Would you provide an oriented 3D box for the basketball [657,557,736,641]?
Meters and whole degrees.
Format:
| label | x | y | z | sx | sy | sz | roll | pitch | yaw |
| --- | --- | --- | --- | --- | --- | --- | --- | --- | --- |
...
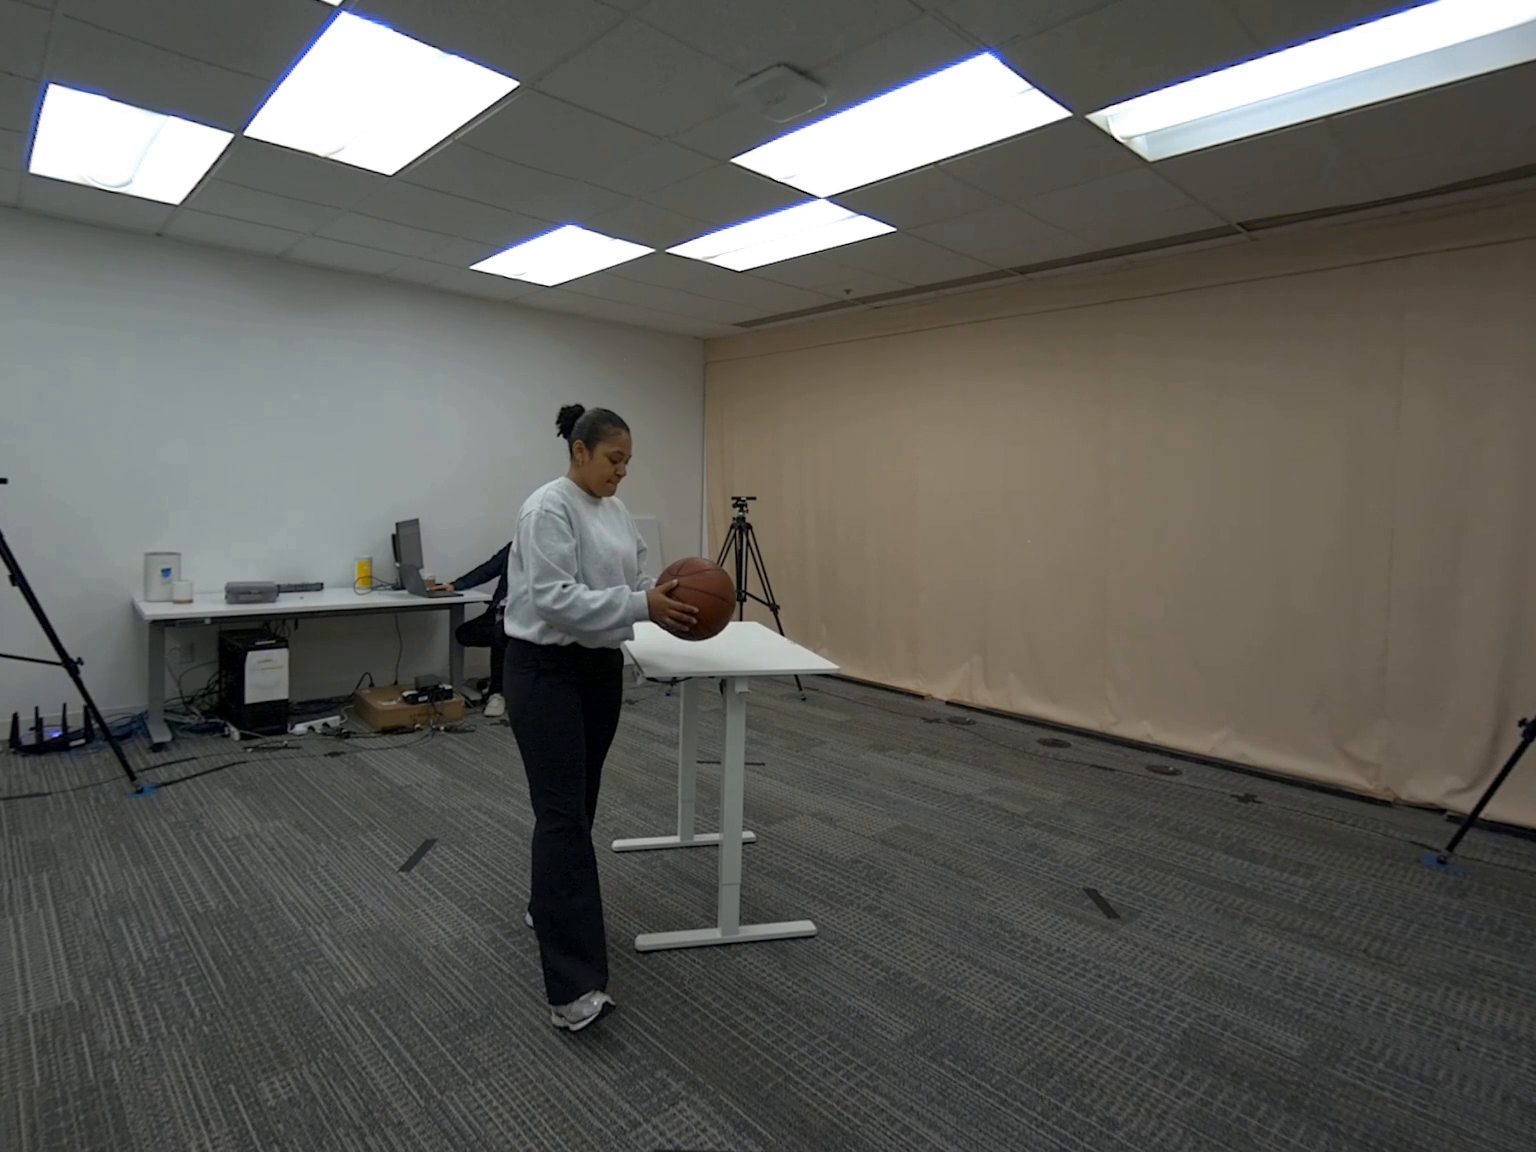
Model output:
| label | x | y | z | sx | sy | sz | roll | pitch | yaw |
| --- | --- | --- | --- | --- | --- | --- | --- | --- | --- |
| basketball | -0.225 | 0.076 | 2.394 | 0.236 | 0.235 | 0.237 | 1 | 4 | -1 |
